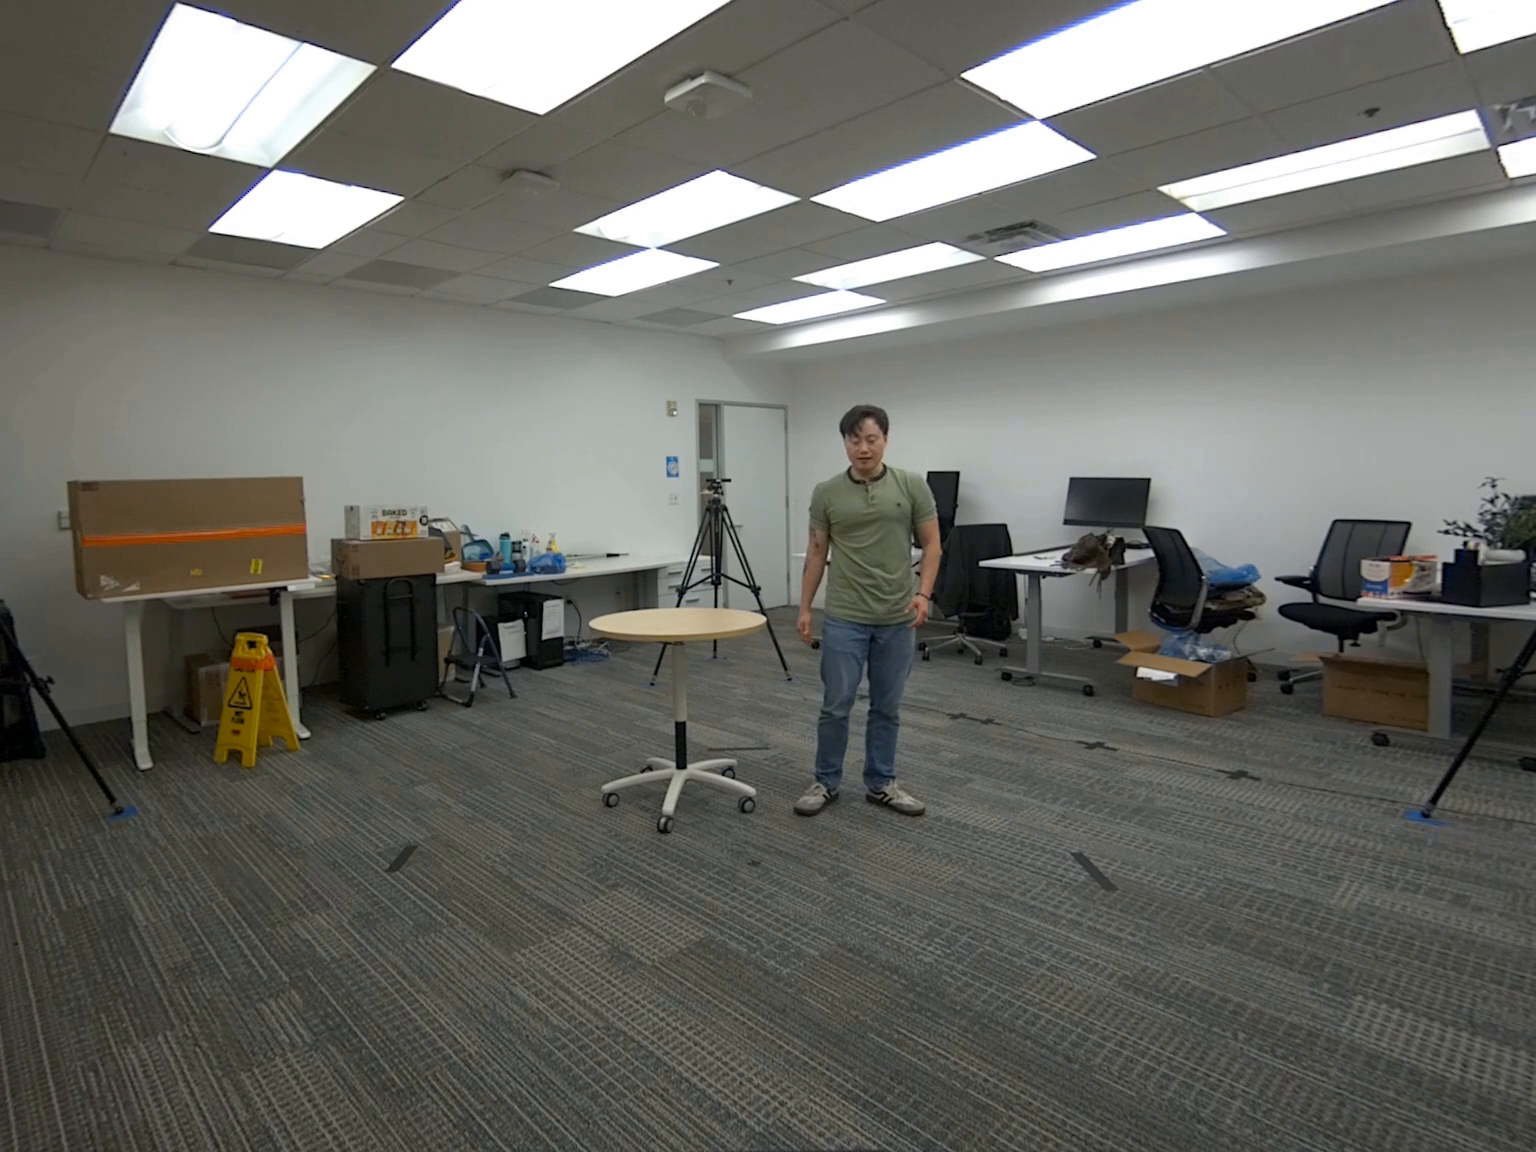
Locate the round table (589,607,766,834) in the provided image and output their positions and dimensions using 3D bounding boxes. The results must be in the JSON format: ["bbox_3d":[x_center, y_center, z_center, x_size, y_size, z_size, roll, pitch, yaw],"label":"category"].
[{"bbox_3d":[-0.386,0.590,3.715,0.763,0.791,0.767,-1,4,-2],"label":"round table"}]
